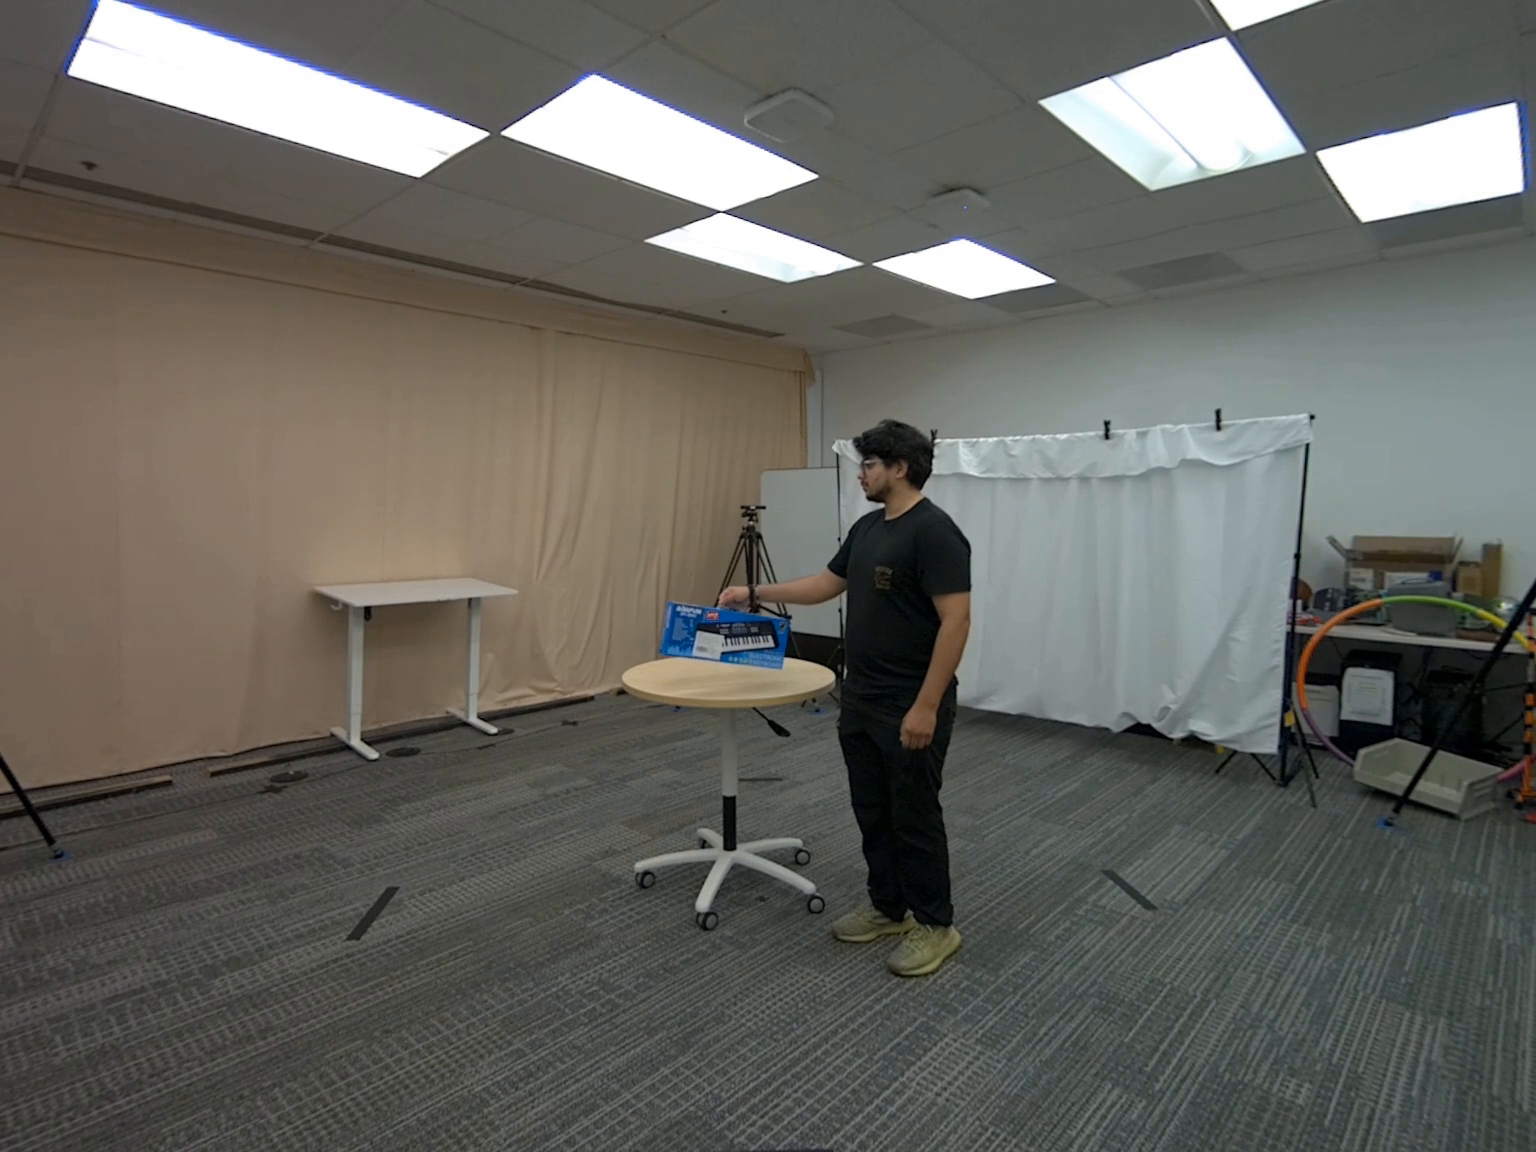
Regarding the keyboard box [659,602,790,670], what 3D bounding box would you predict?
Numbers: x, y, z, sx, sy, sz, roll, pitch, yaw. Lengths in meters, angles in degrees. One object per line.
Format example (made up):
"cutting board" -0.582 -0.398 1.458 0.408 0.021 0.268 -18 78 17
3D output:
"keyboard box" -0.135 0.208 2.806 0.425 0.176 0.060 9 -2 -25
